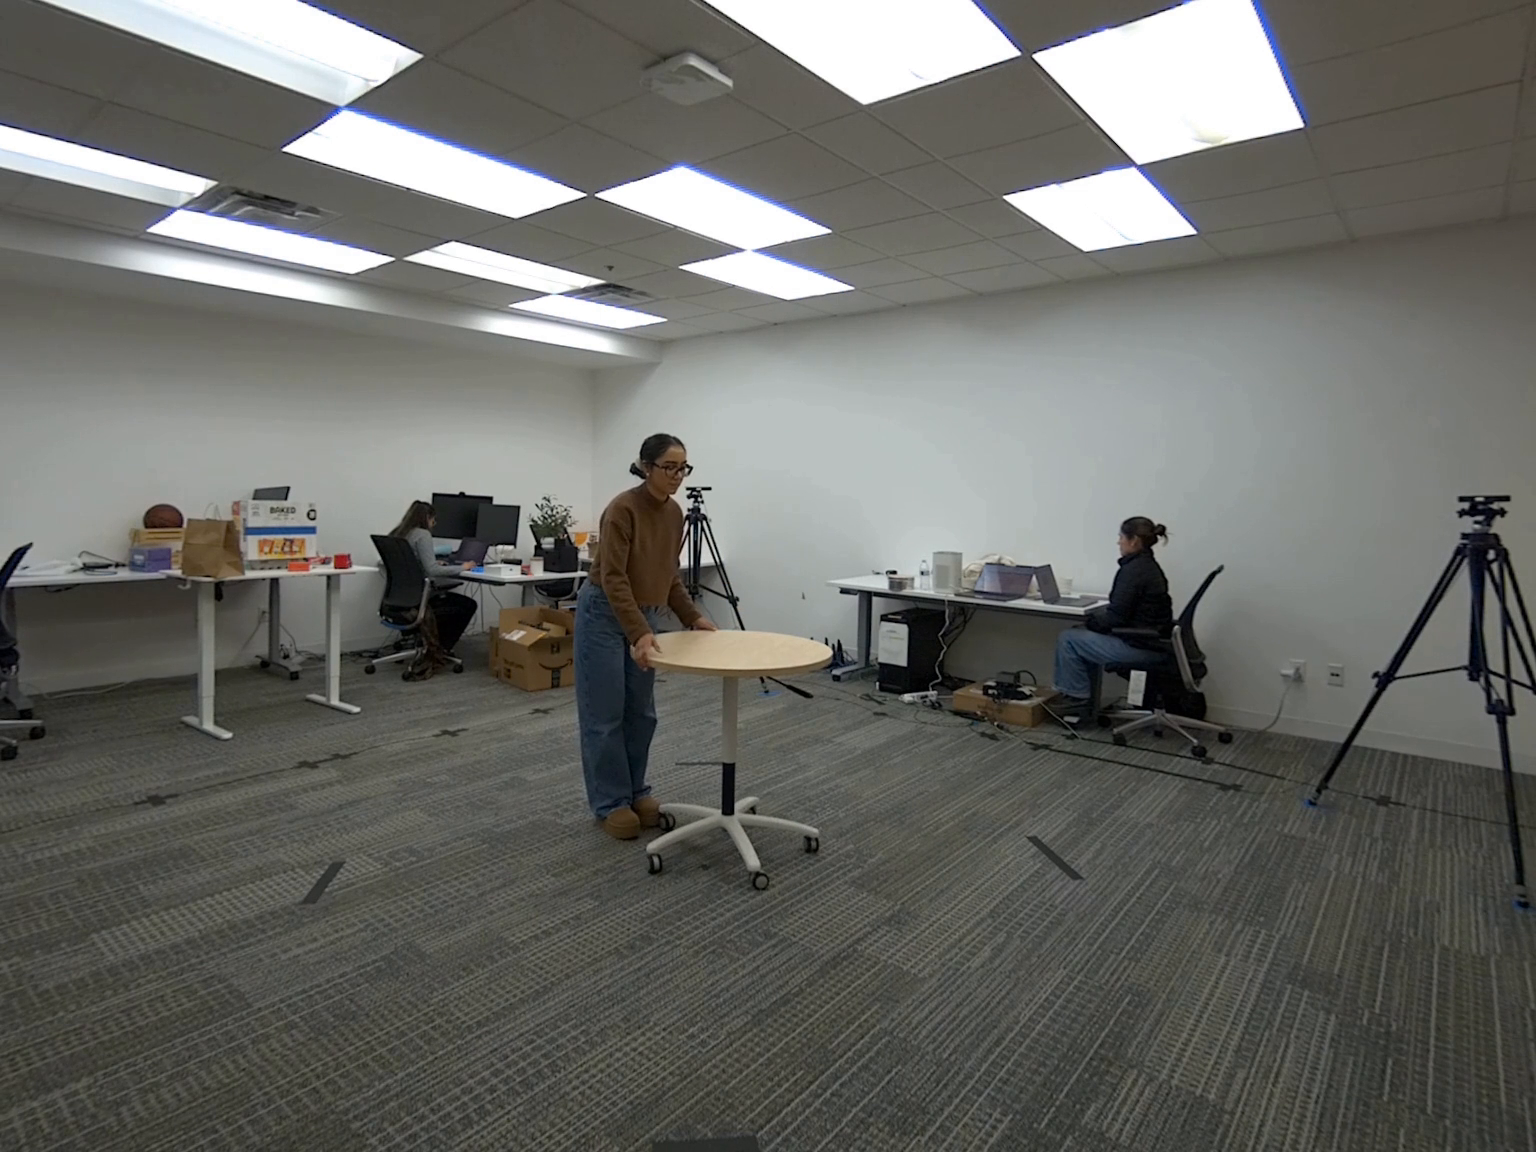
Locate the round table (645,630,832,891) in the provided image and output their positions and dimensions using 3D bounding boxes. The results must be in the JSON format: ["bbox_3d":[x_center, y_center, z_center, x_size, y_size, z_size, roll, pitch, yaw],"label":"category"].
[{"bbox_3d":[-0.160,0.661,3.252,0.763,0.791,0.768,1,5,-2],"label":"round table"}]
